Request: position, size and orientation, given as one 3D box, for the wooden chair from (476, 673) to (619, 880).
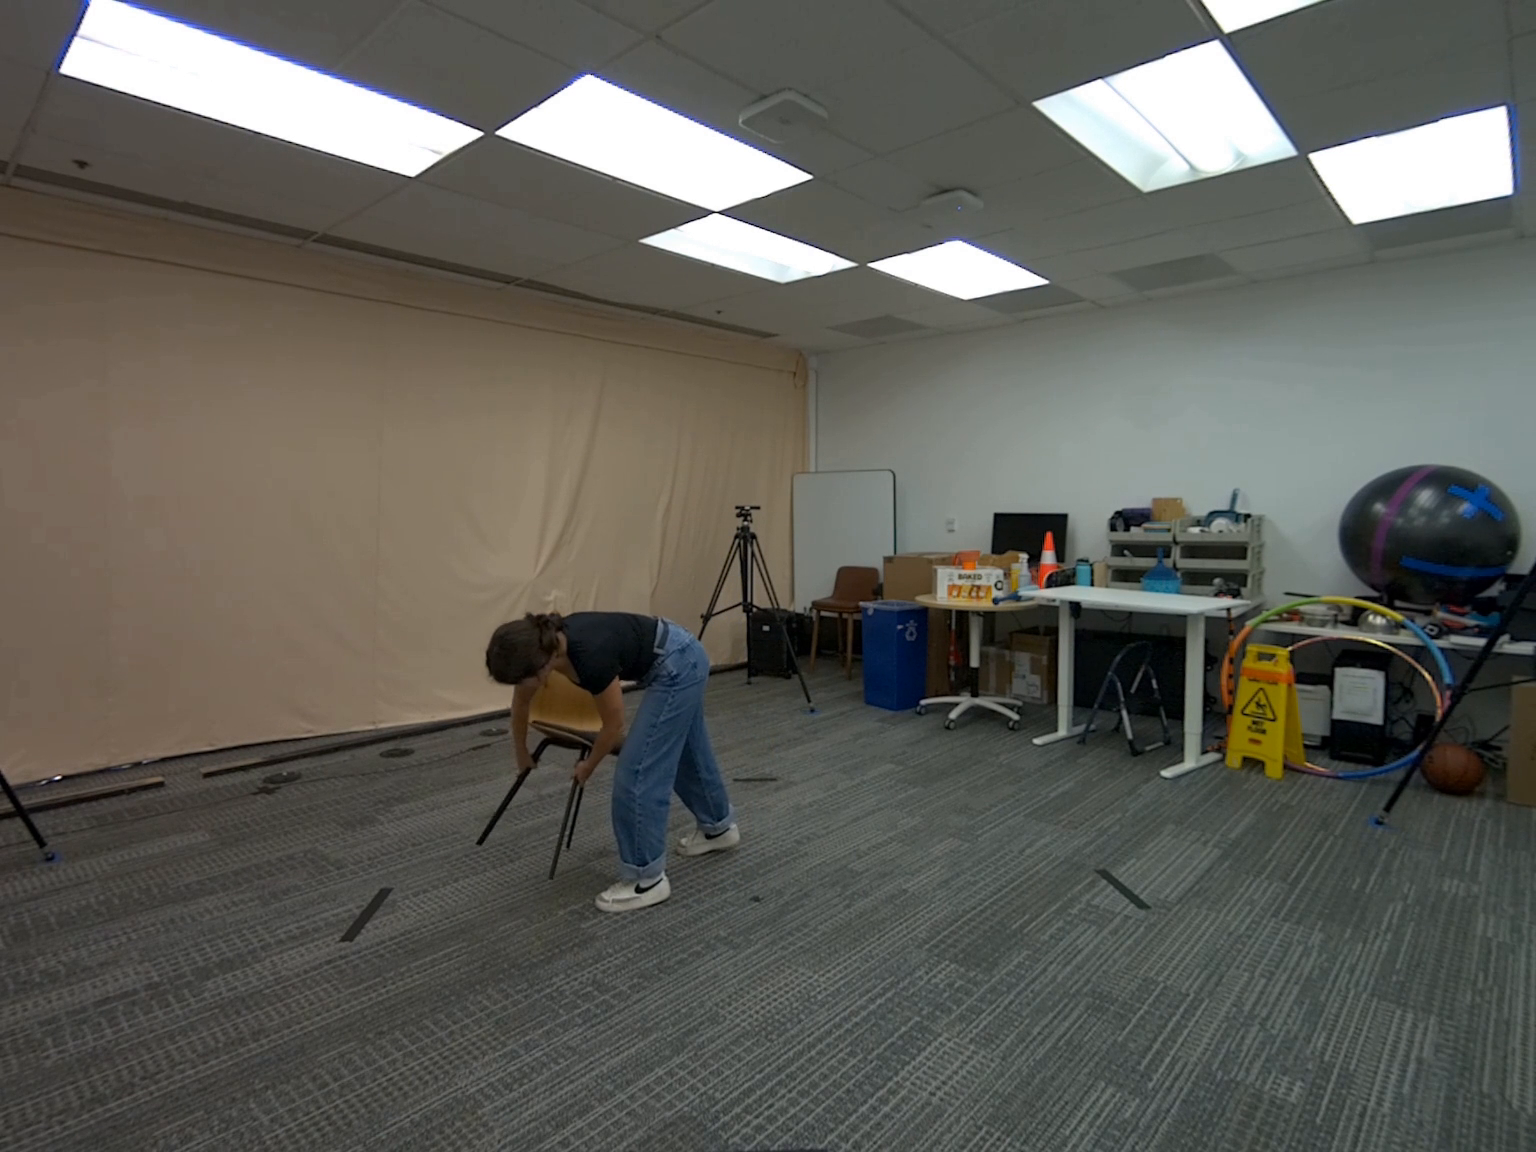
[{"bbox_3d":[-0.686,0.651,3.194,0.539,0.883,0.461,-3,-18,39],"label":"wooden chair"}]
